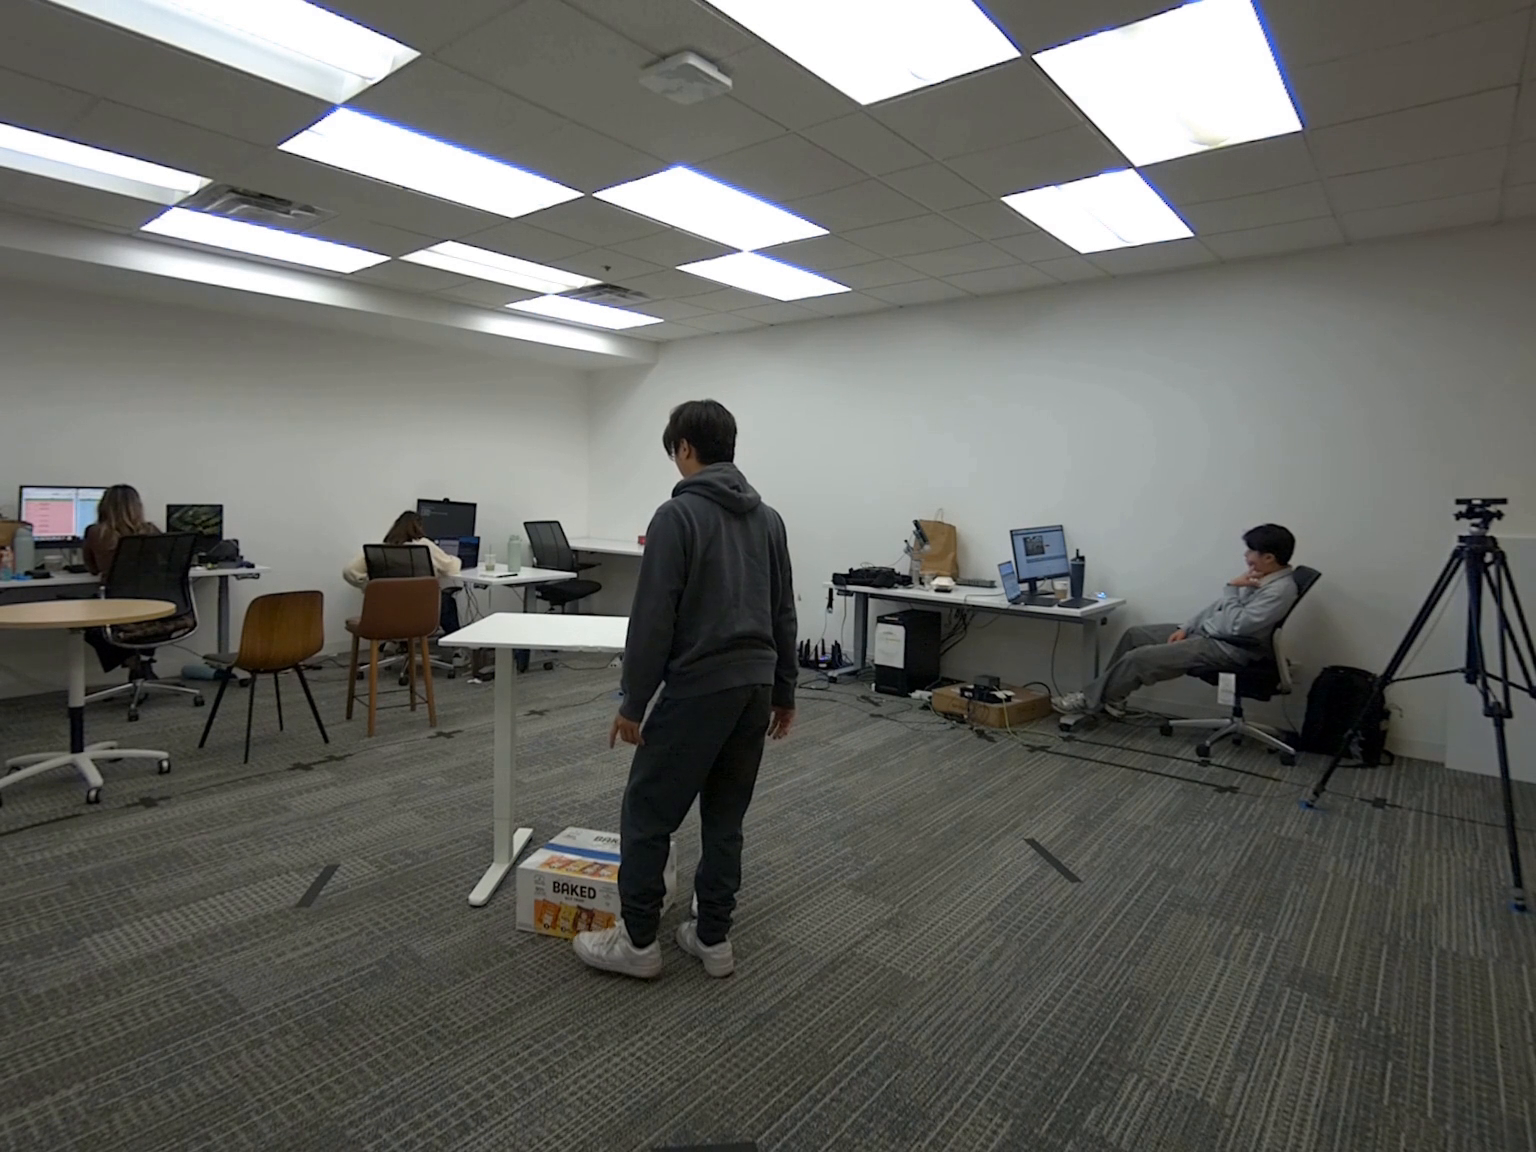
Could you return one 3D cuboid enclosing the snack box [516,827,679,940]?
[{"bbox_3d":[-0.557,0.996,2.749,0.413,0.205,0.335,2,5,16],"label":"snack box"}]
